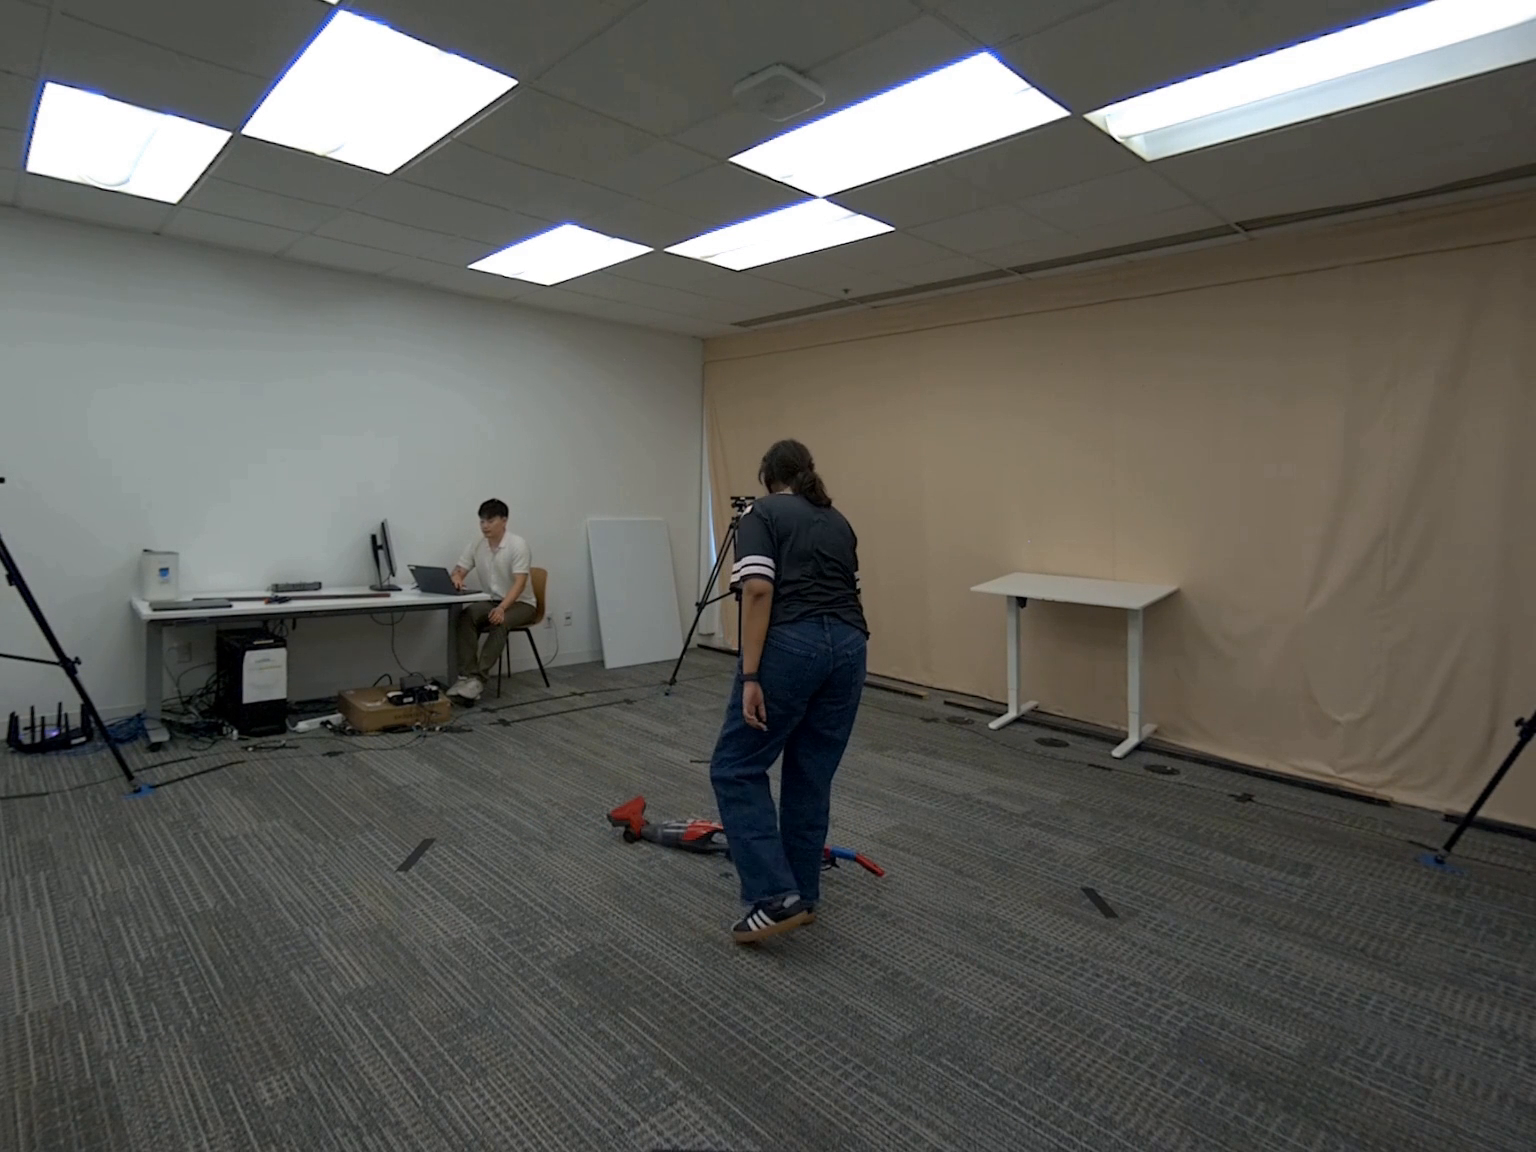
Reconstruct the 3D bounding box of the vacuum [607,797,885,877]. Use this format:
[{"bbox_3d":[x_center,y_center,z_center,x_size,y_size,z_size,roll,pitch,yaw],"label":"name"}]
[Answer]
[{"bbox_3d":[-0.088,1.031,3.215,1.069,0.143,0.248,4,5,24],"label":"vacuum"}]
